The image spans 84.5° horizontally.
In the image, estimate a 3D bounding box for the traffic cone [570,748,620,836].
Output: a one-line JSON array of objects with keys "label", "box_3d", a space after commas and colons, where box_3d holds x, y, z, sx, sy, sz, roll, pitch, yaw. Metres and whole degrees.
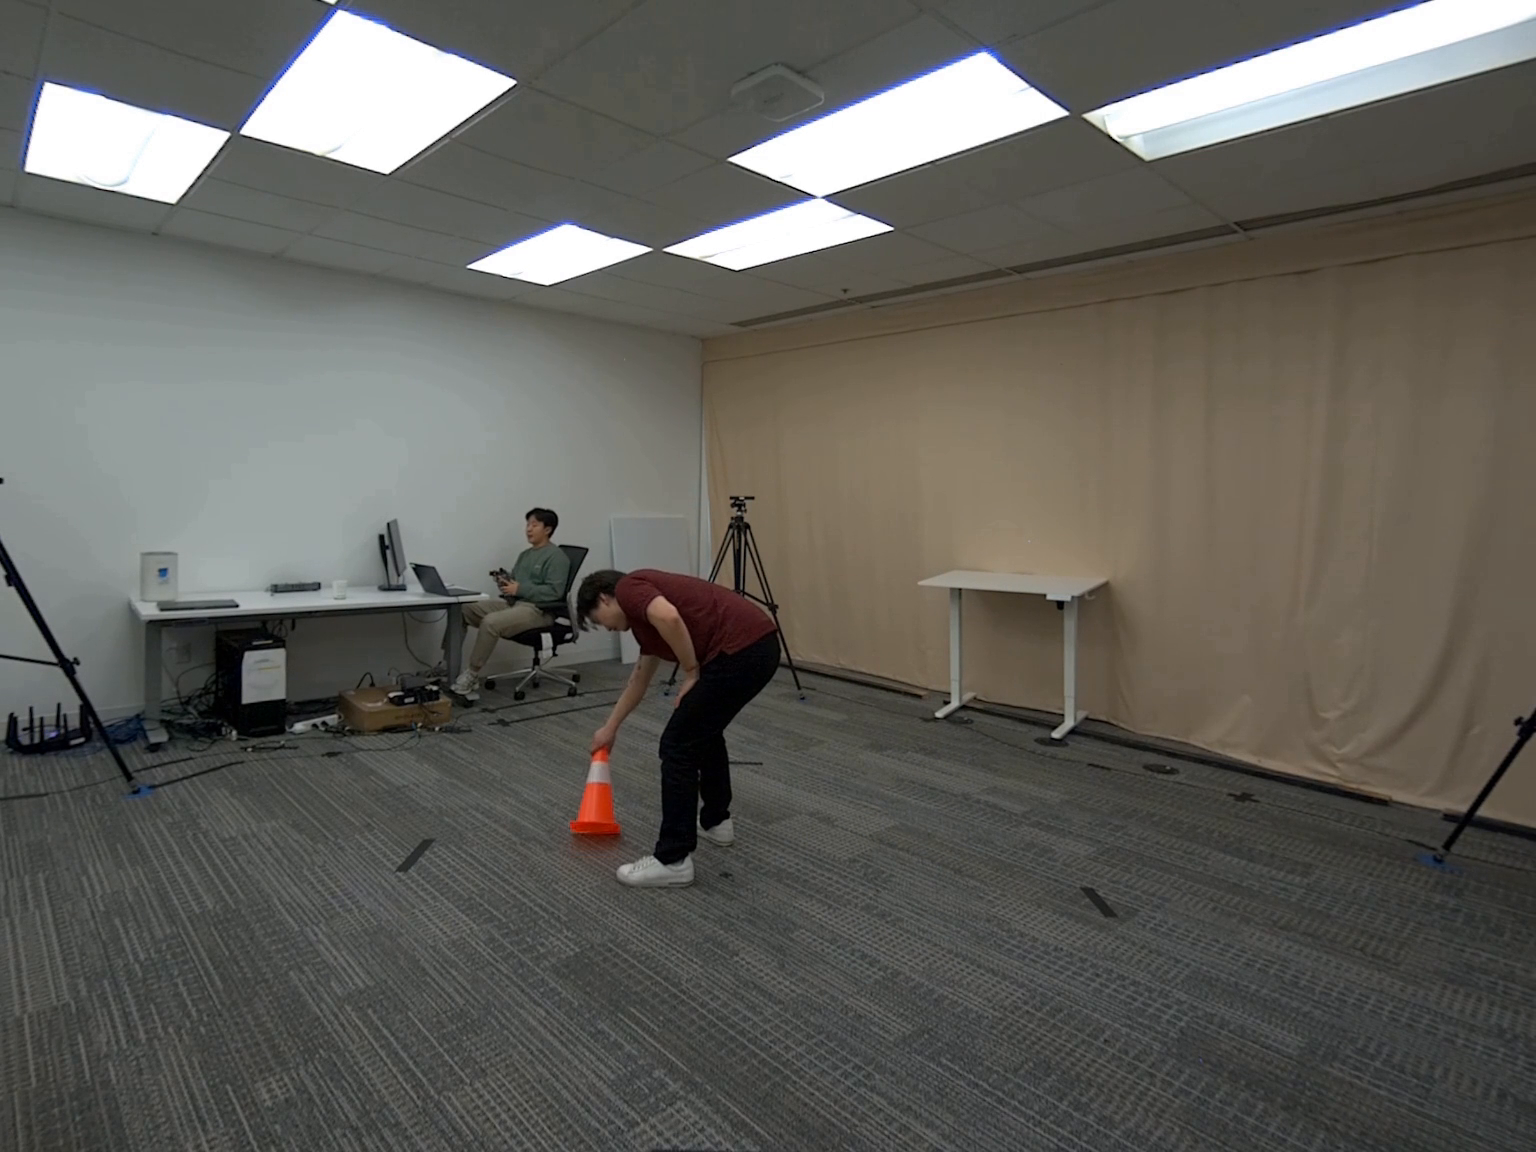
[{"label": "traffic cone", "box_3d": [-0.704, 0.843, 3.473, 0.204, 0.391, 0.200, 2, -30, -7]}]
